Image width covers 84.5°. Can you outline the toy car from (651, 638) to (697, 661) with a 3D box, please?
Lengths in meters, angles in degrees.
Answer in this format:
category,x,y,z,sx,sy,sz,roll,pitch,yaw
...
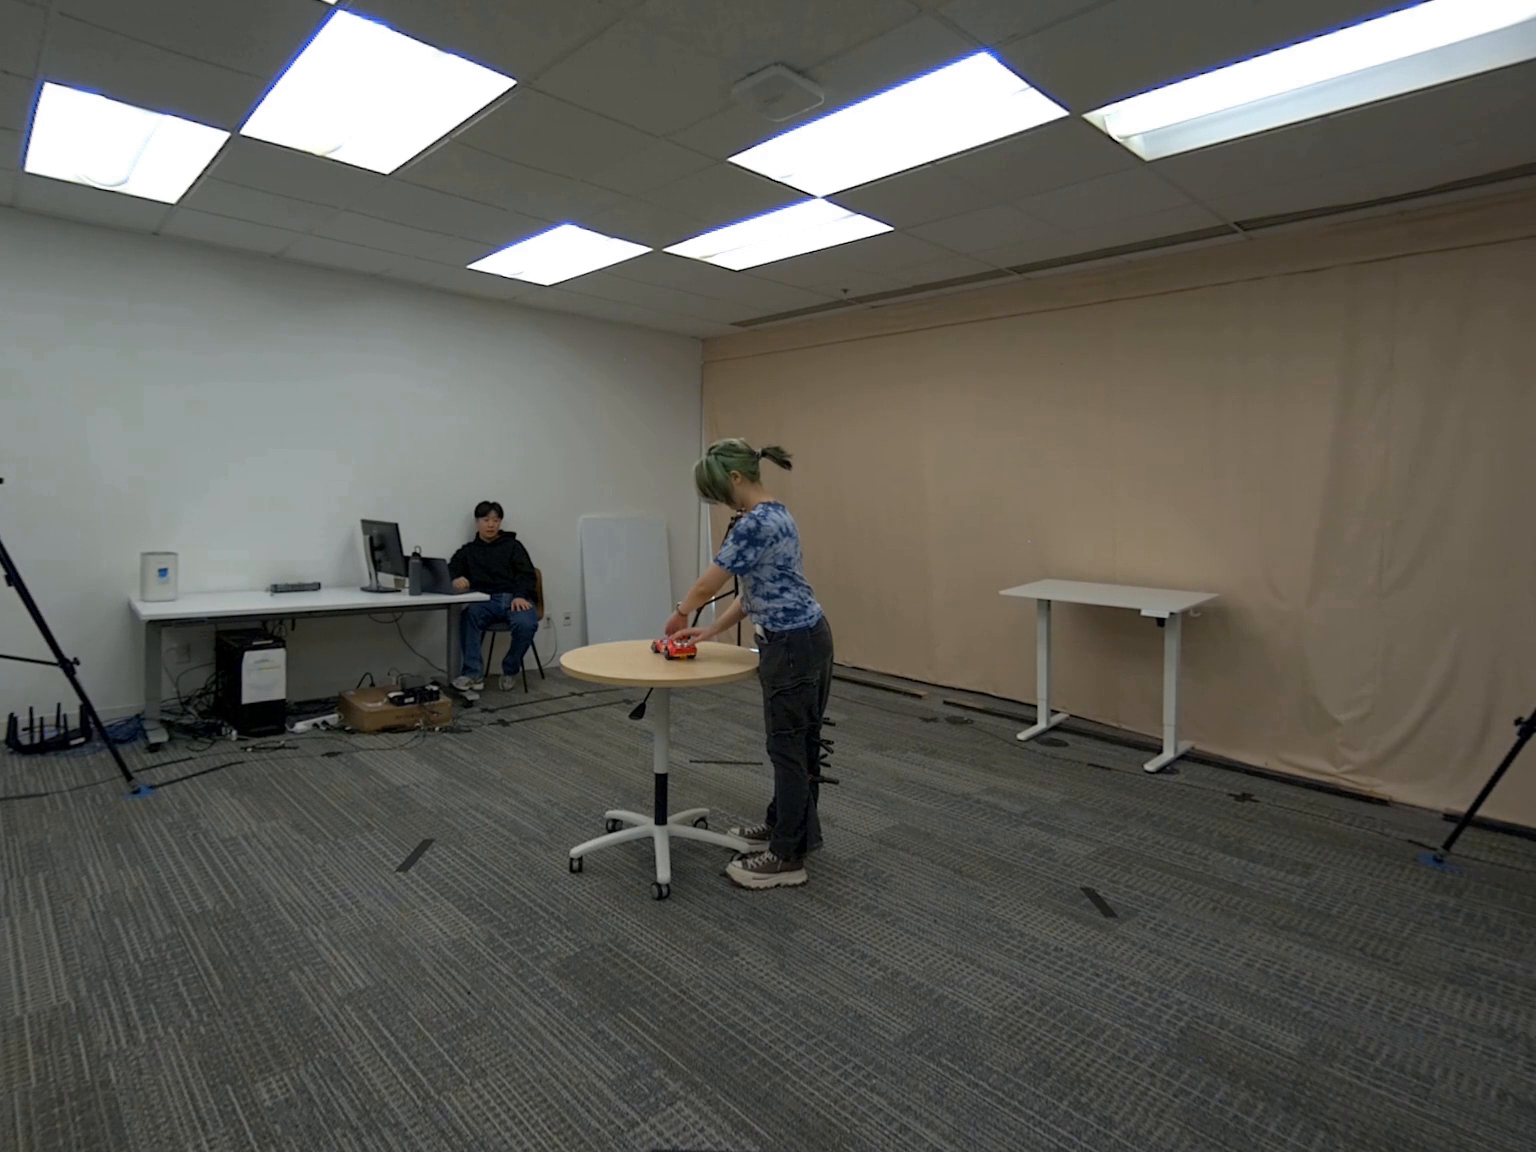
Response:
category,x,y,z,sx,sy,sz,roll,pitch,yaw
toy car,-0.356,0.275,3.199,0.128,0.083,0.258,-1,-5,-25
